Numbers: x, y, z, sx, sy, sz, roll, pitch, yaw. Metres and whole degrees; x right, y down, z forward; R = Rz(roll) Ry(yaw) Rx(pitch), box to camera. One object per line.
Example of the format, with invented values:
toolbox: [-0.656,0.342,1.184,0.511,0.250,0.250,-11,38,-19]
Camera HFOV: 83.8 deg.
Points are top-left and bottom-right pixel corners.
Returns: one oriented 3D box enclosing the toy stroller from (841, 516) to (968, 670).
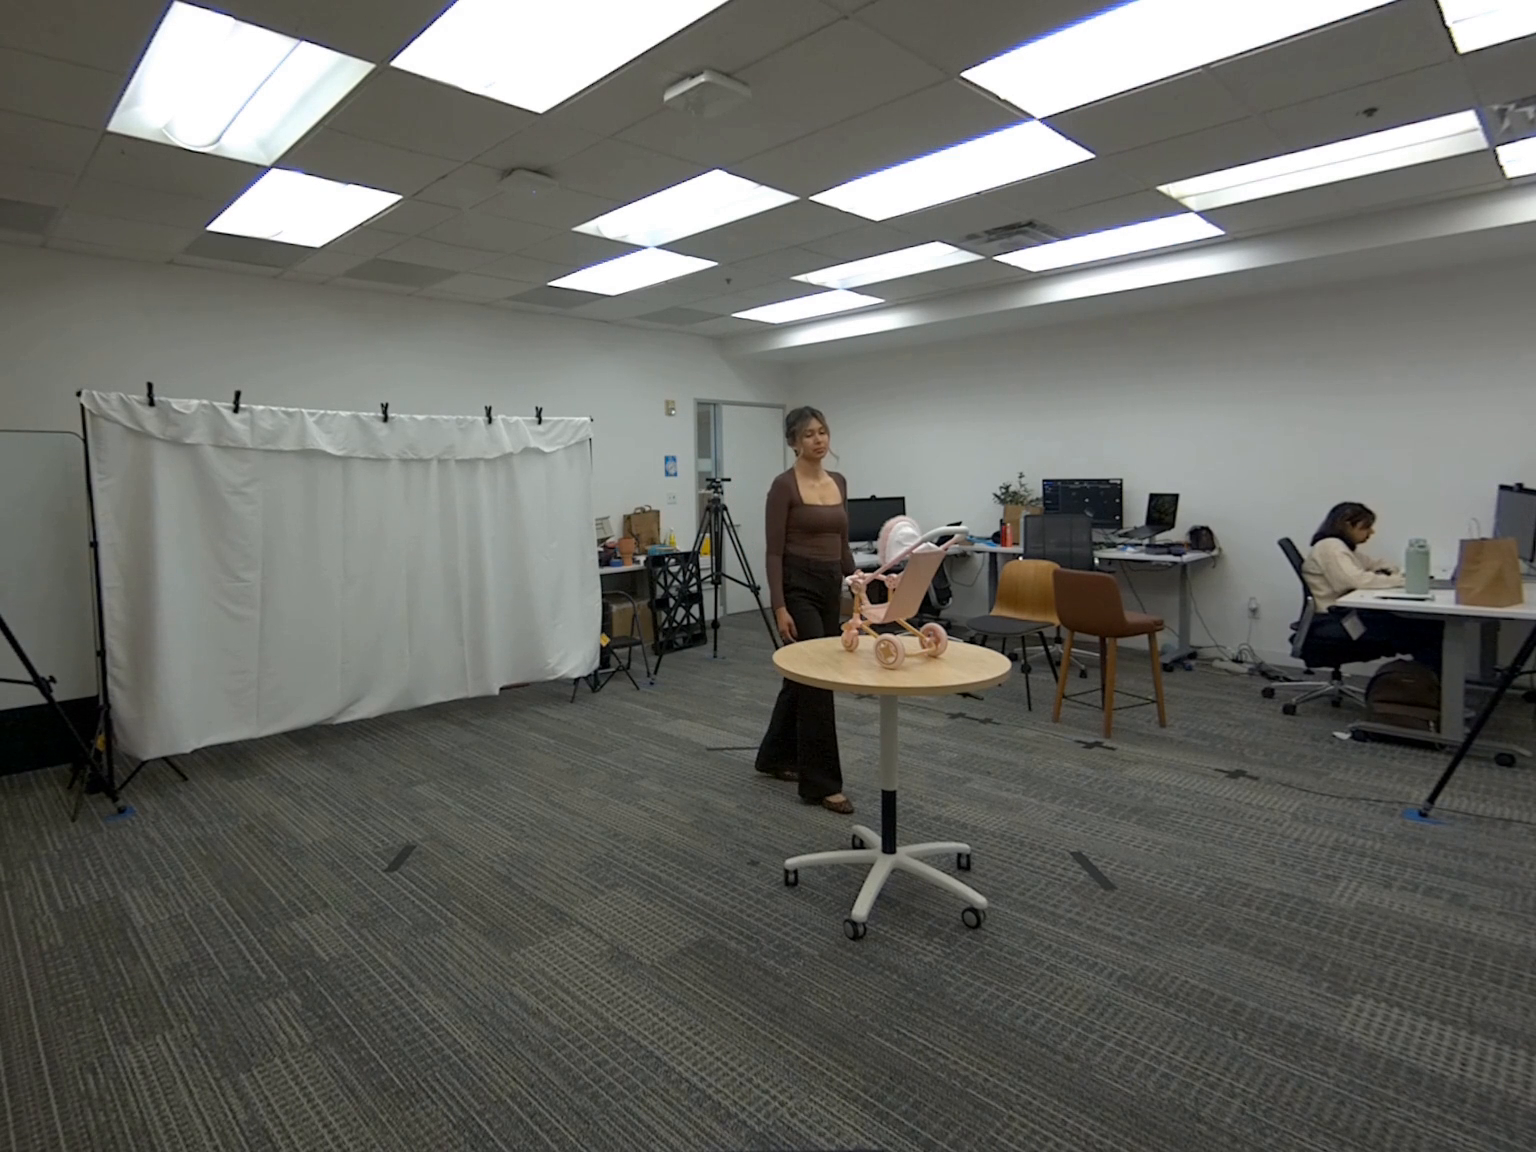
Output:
toy stroller: [0.417,0.051,2.774,0.274,0.529,0.354,-4,20,-40]
